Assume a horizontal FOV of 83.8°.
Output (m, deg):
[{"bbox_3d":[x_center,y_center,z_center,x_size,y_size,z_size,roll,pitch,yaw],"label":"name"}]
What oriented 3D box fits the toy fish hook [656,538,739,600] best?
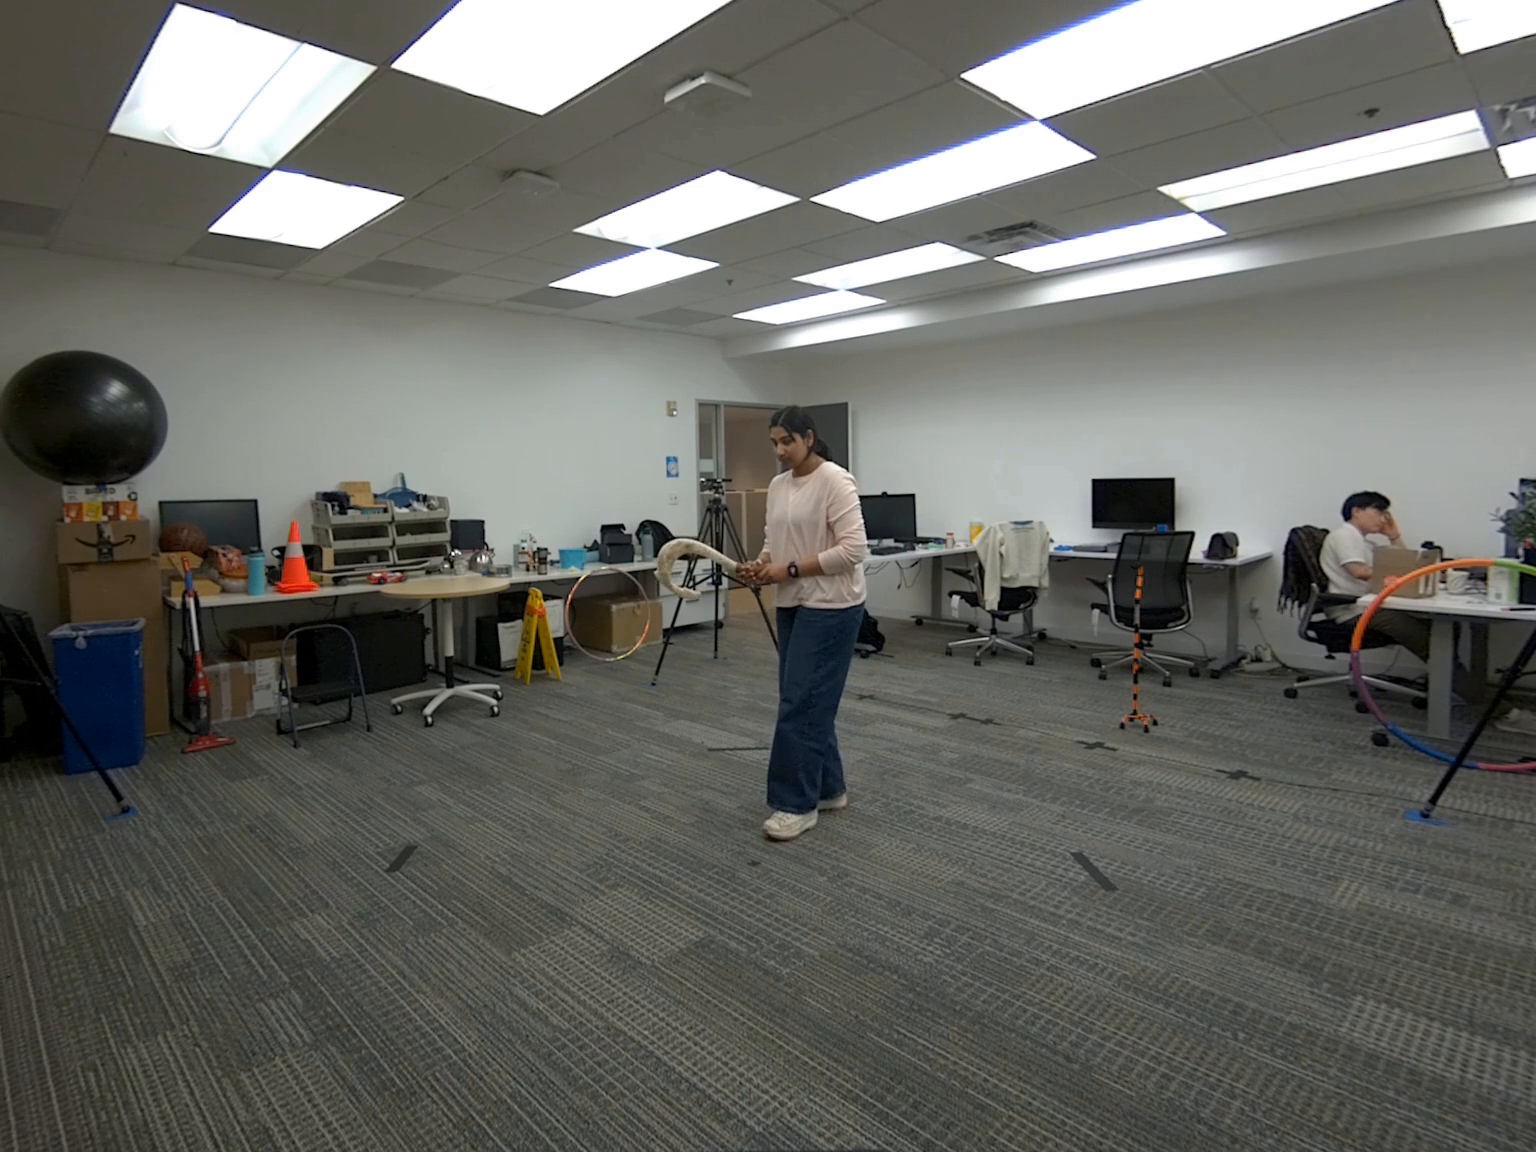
[{"bbox_3d":[-0.188,-0.001,3.320,0.500,0.224,0.049,14,3,-11],"label":"toy fish hook"}]
